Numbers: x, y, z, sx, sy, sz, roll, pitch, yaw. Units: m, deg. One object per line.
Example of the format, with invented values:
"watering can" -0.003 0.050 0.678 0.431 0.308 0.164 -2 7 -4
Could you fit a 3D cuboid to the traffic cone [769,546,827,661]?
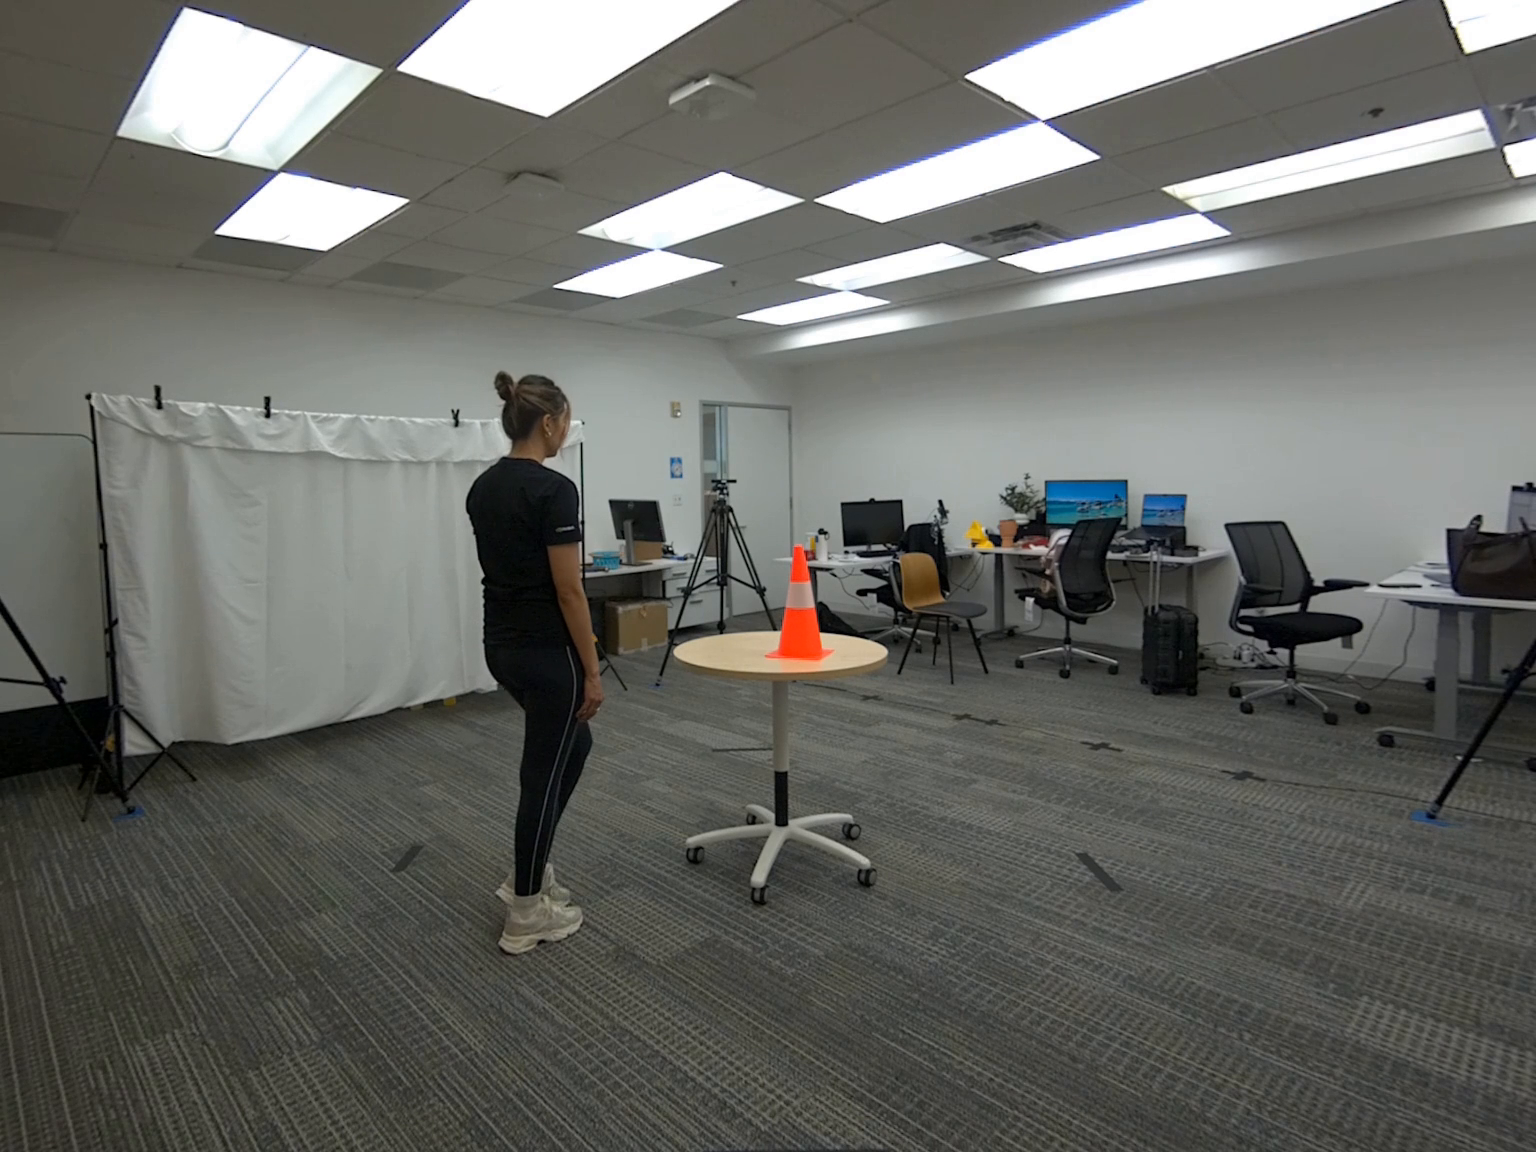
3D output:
"traffic cone" 0.106 0.086 2.988 0.210 0.383 0.199 -2 2 27
